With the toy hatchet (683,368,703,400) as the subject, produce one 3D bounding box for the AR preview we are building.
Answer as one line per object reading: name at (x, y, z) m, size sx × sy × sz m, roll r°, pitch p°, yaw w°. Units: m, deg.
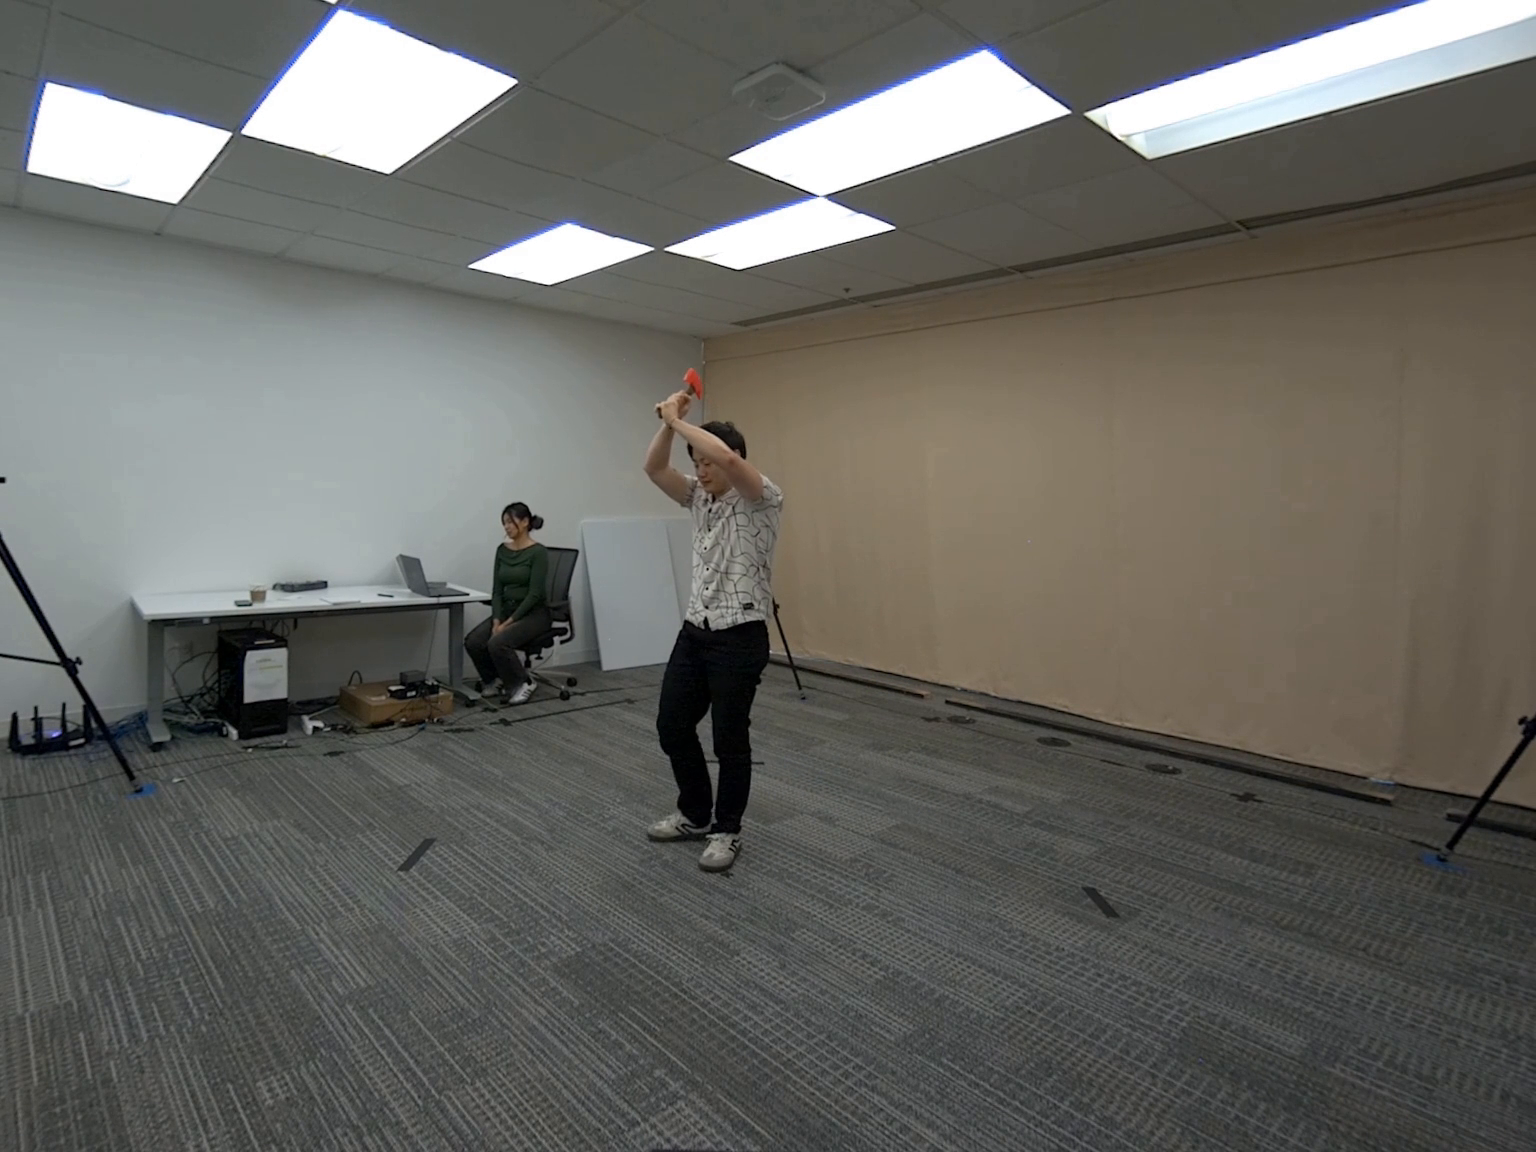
toy hatchet at (-0.332, -0.670, 3.049) m, size 0.030 × 0.128 × 0.269 m, roll 14°, pitch 32°, yaw 26°
